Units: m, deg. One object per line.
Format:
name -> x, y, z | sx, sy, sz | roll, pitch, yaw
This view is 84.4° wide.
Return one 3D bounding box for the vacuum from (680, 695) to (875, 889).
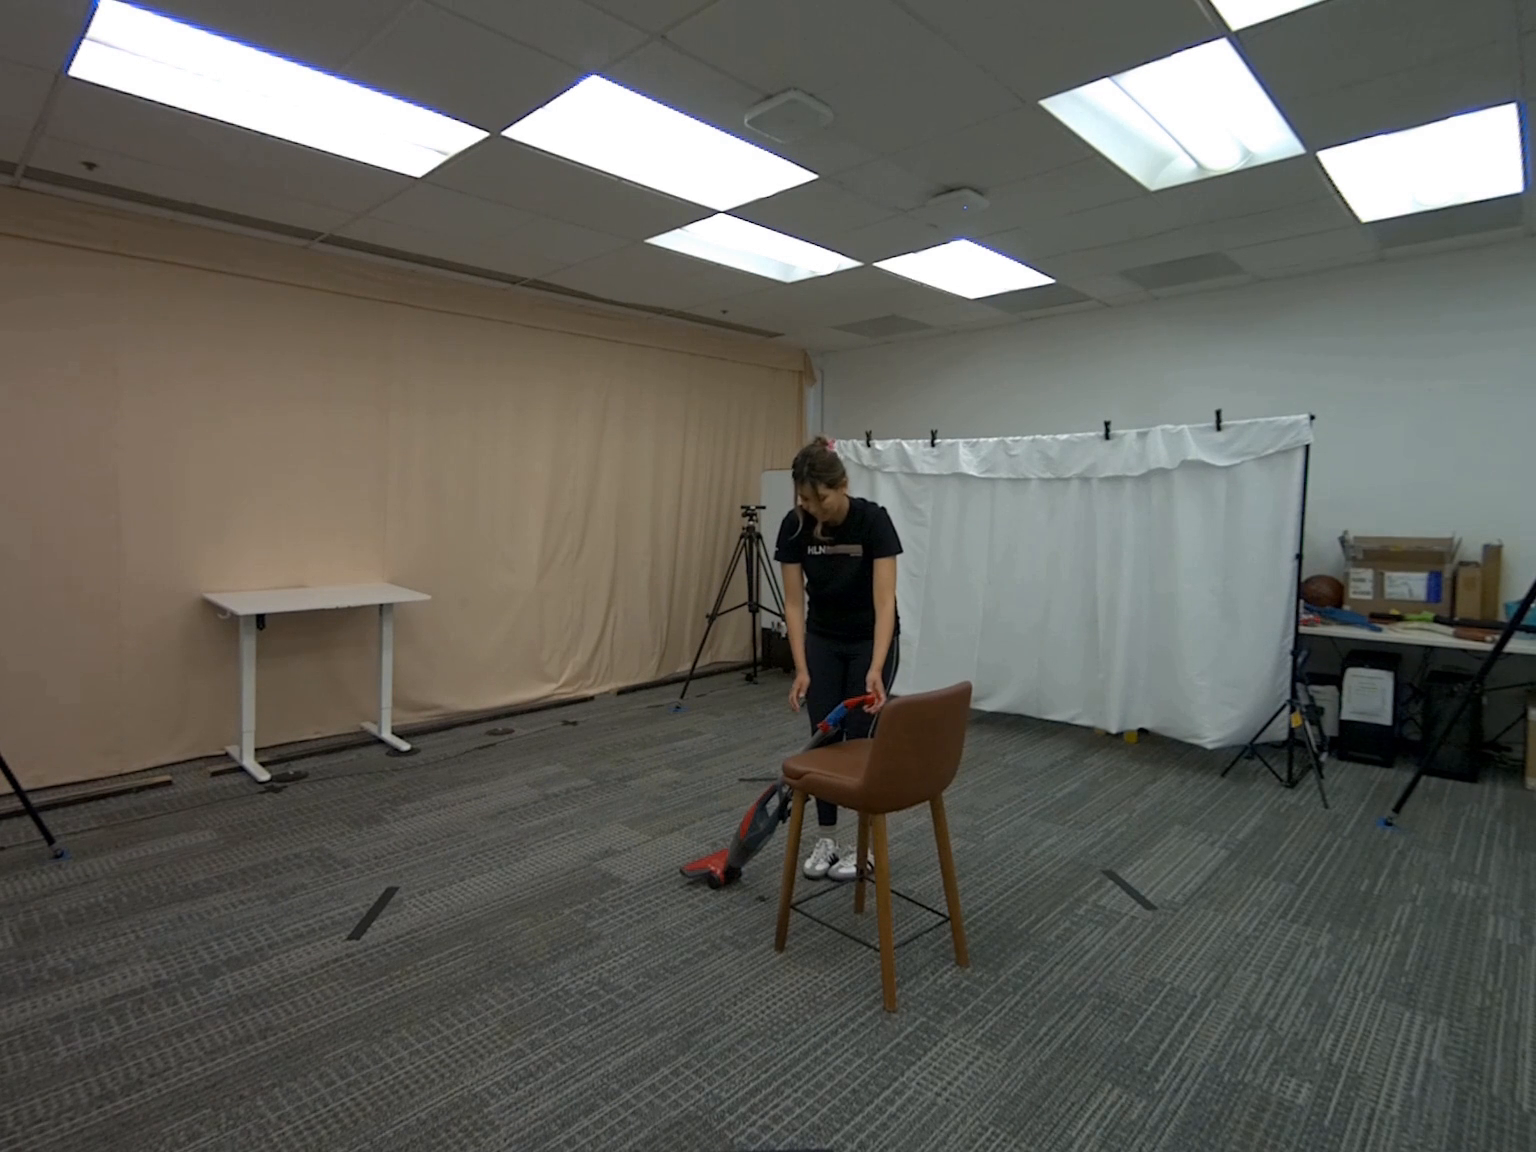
vacuum -> 0.050, 0.746, 2.866 | 0.245, 1.051, 0.148 | -12, 55, -49
